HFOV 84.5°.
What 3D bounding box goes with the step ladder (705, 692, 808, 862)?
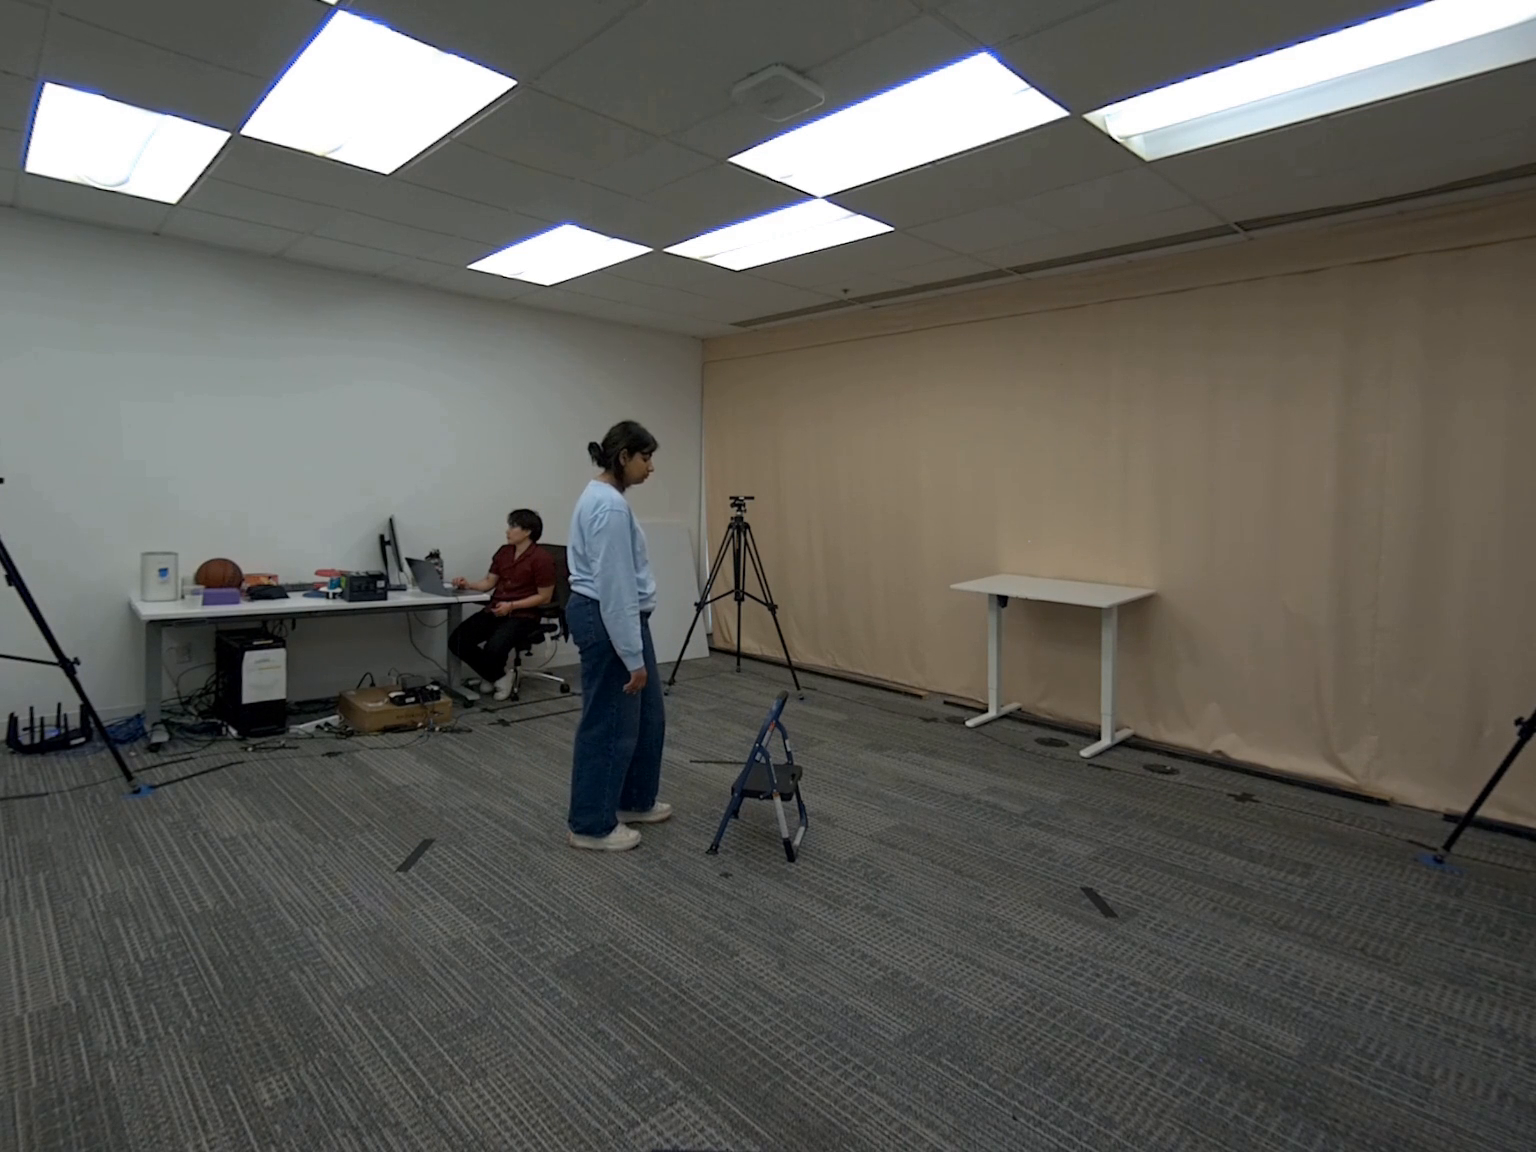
[{"bbox_3d":[-0.031,0.776,3.442,0.353,0.604,0.427,2,4,11],"label":"step ladder"}]
